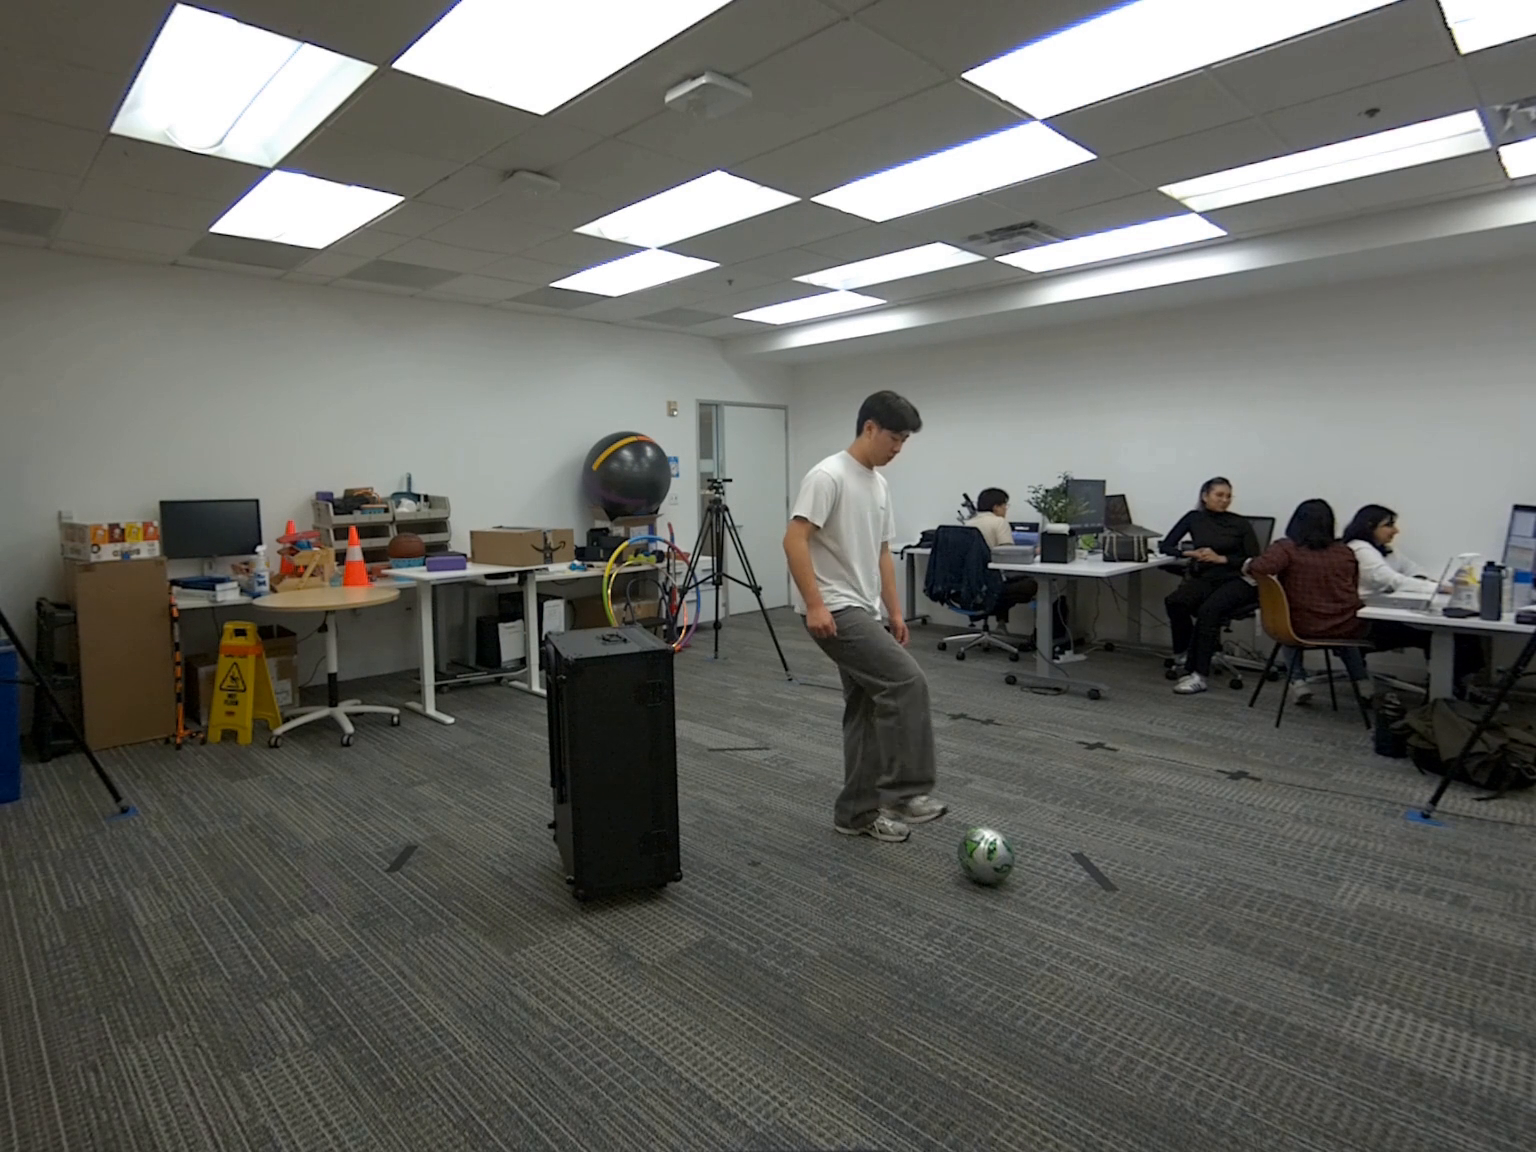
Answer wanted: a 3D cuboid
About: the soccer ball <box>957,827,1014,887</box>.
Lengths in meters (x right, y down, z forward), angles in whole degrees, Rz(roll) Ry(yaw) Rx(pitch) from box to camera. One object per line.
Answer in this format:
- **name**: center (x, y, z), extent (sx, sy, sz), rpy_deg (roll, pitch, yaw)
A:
- **soccer ball**: center (0.744, 0.951, 2.933), extent (0.187, 0.187, 0.188), rpy_deg (-1, 5, -2)
